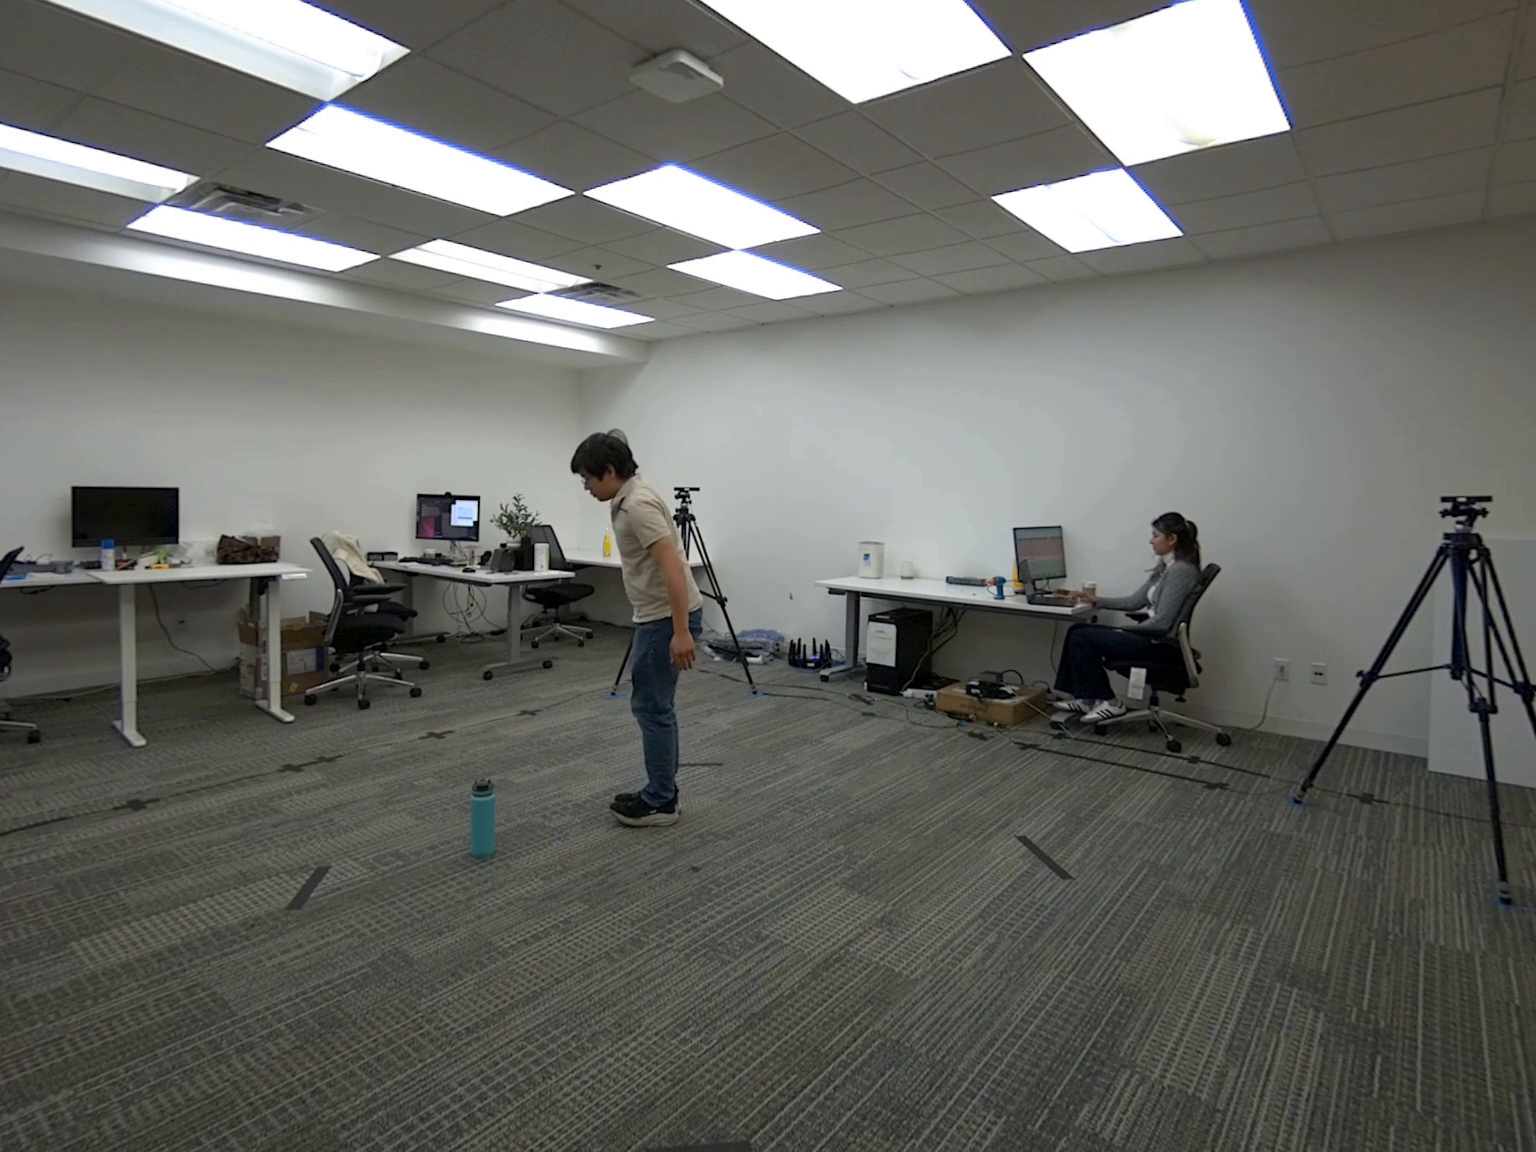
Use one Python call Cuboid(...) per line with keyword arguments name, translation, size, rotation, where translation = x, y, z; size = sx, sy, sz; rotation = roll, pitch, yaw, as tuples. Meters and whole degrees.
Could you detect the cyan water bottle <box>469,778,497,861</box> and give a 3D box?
Cuboid(name="cyan water bottle", translation=(-1.092, 0.904, 3.209), size=(0.092, 0.283, 0.093), rotation=(1, 3, -2))
